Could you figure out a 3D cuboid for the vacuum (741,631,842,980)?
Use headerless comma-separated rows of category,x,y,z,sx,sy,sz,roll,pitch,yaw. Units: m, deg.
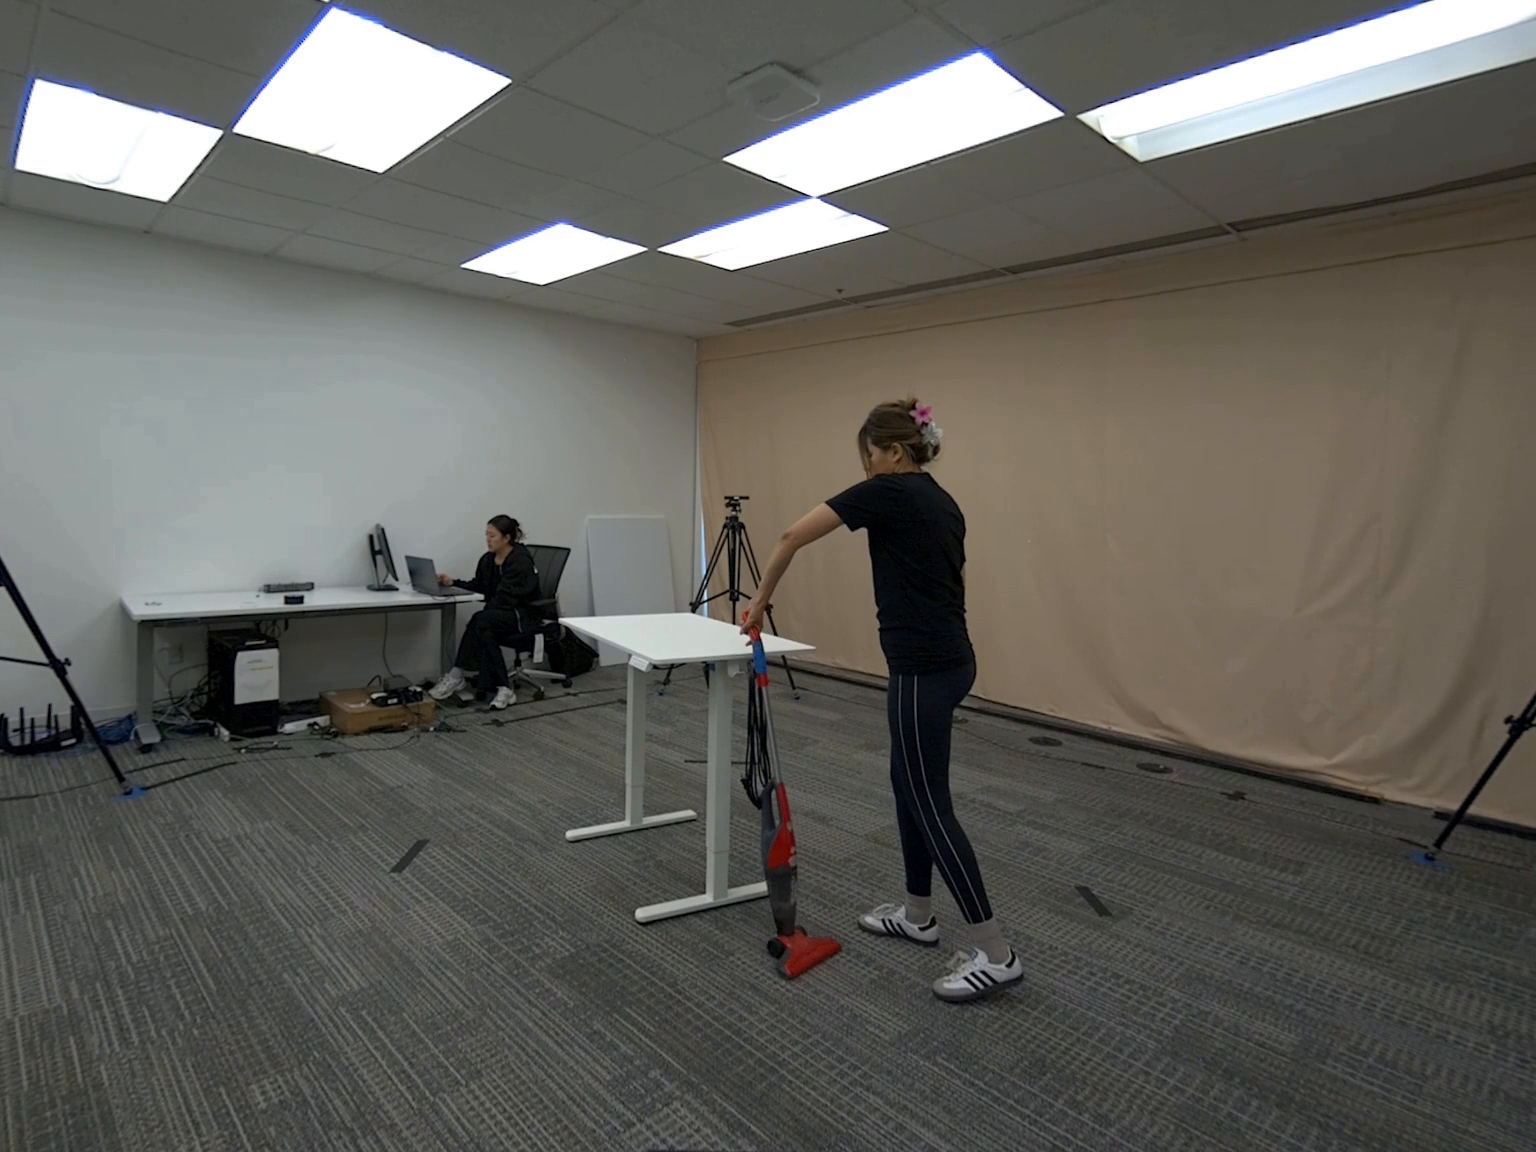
vacuum,0.005,0.660,2.629,0.146,1.057,0.247,-19,-11,40
